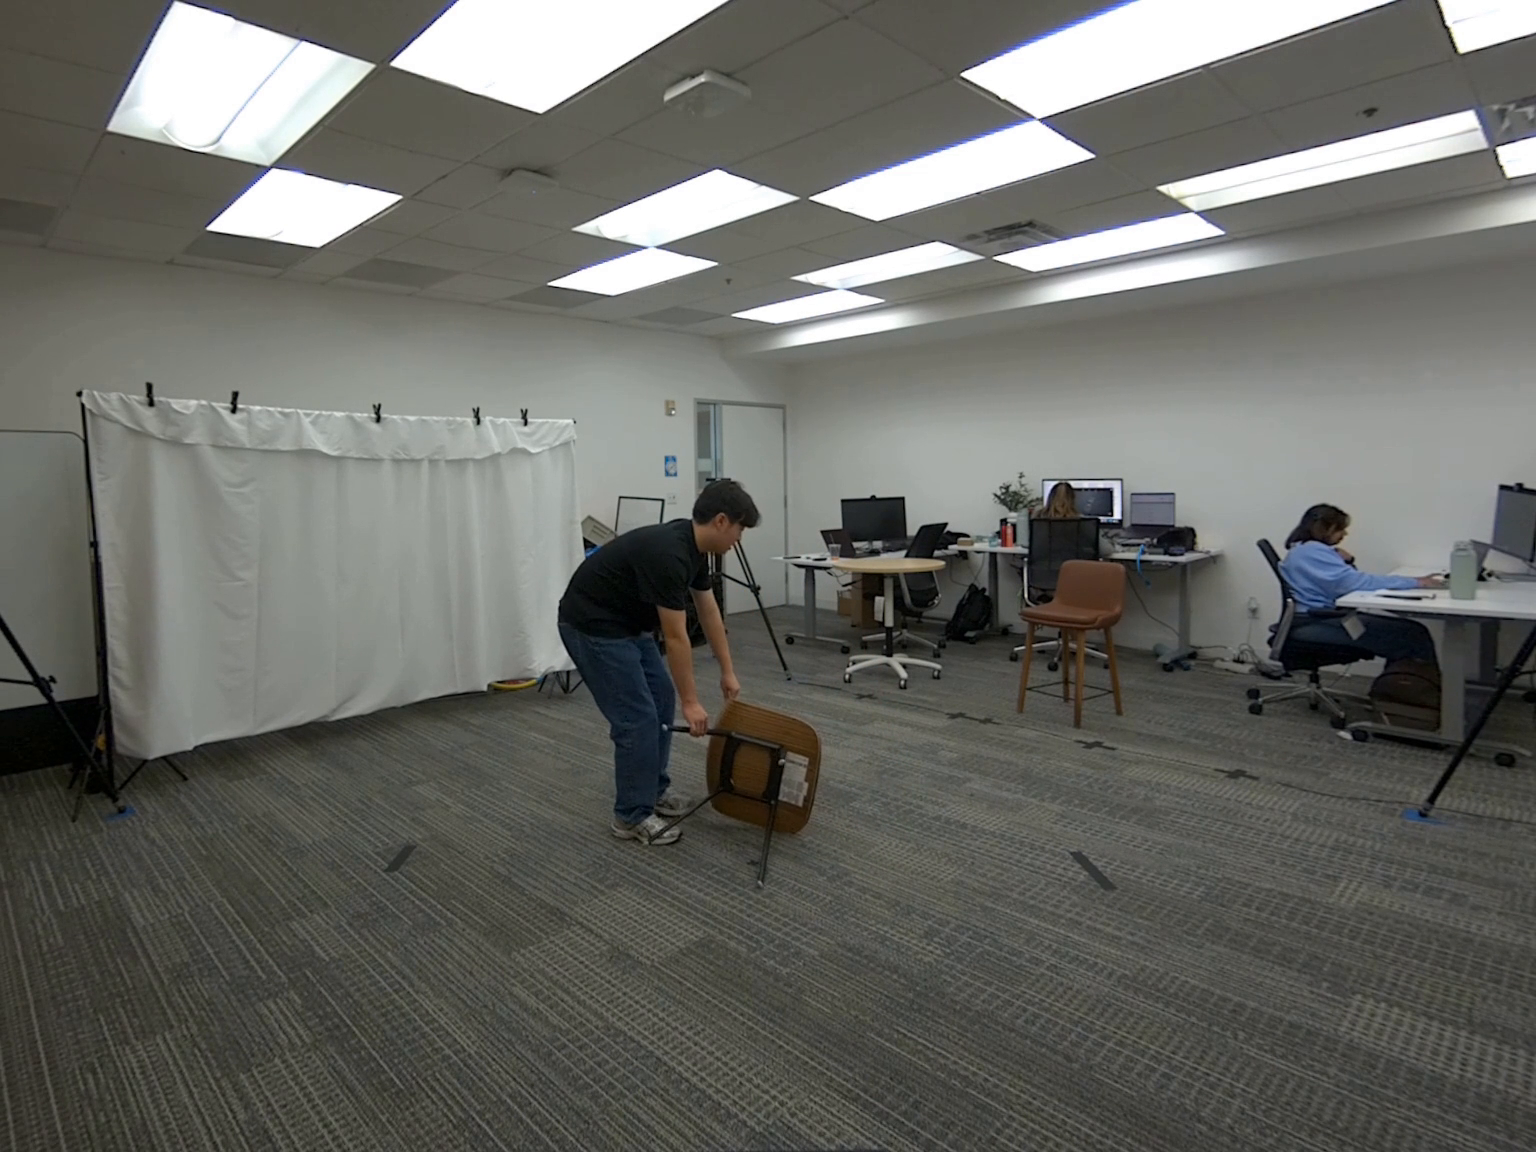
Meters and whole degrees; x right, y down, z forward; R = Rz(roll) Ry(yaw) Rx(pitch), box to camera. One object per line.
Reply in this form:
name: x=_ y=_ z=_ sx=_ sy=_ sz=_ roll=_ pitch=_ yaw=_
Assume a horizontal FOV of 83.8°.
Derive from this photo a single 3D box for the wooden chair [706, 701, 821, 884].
wooden chair: x=-0.066 y=0.757 z=3.371 sx=0.532 sy=0.476 sz=0.867 roll=11 pitch=6 yaw=13
